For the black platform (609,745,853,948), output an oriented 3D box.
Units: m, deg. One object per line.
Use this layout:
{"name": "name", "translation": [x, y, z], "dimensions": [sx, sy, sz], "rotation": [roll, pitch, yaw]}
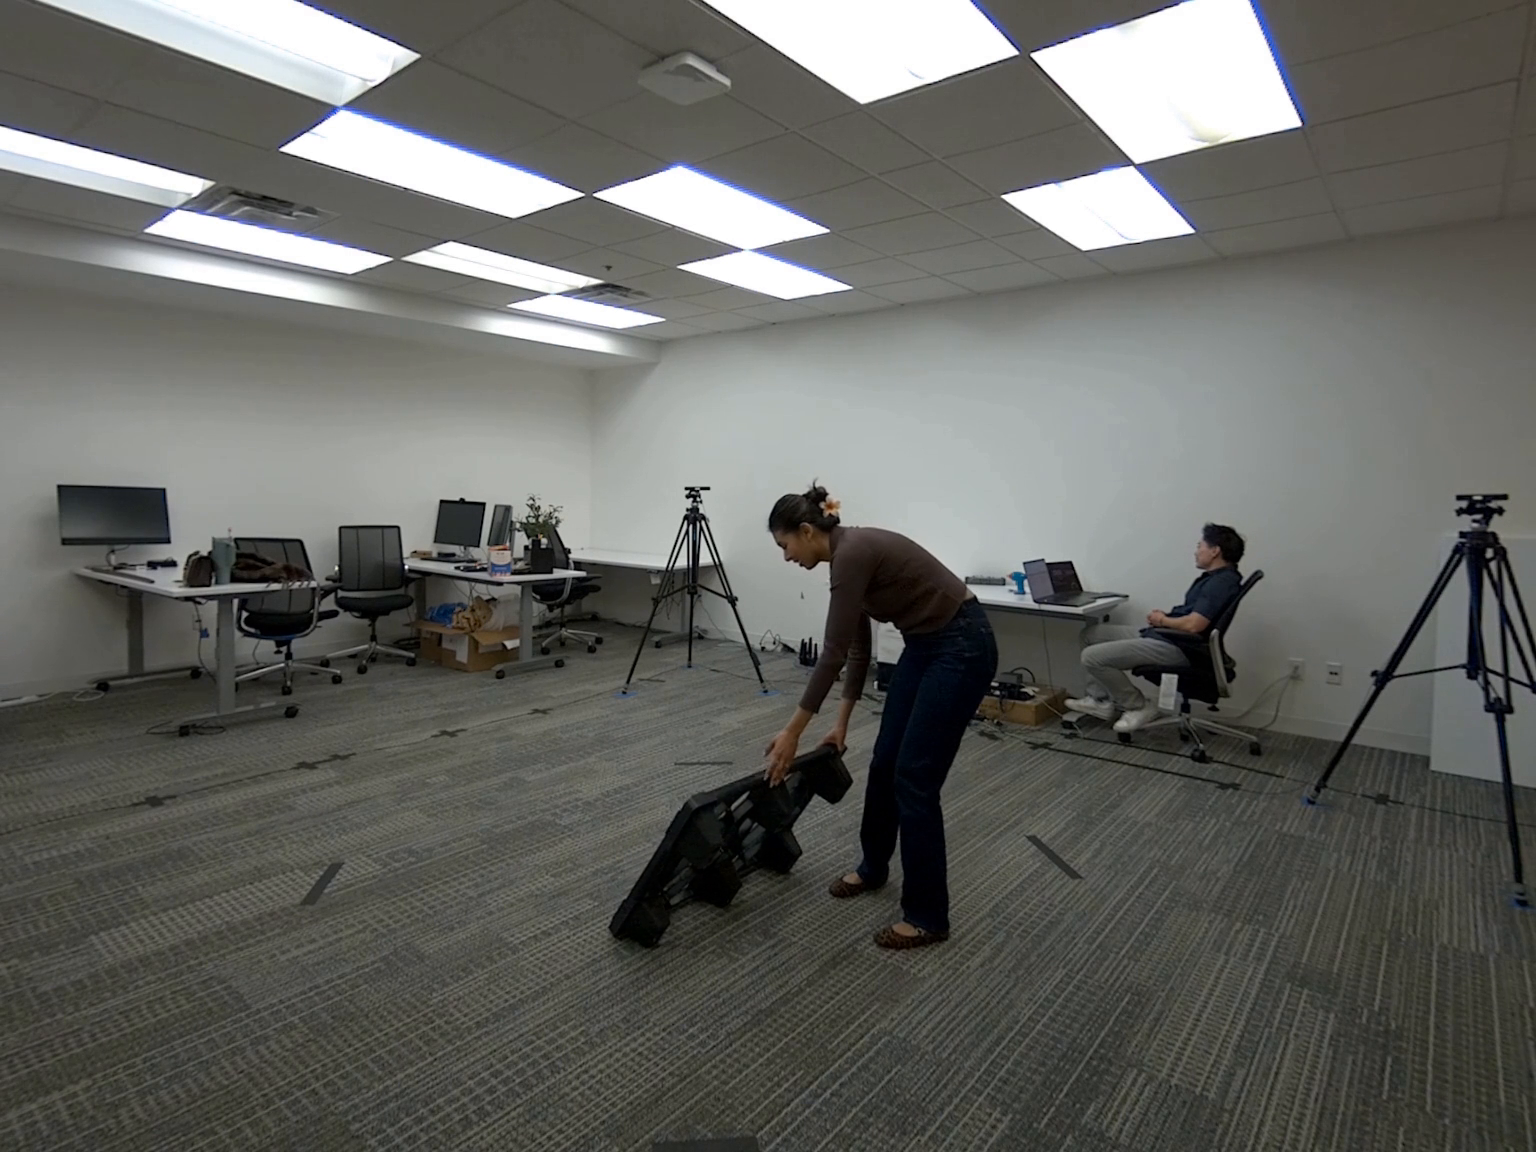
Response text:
{"name": "black platform", "translation": [-0.091, 0.869, 2.768], "dimensions": [0.149, 0.600, 0.782], "rotation": [42, 28, 29]}
